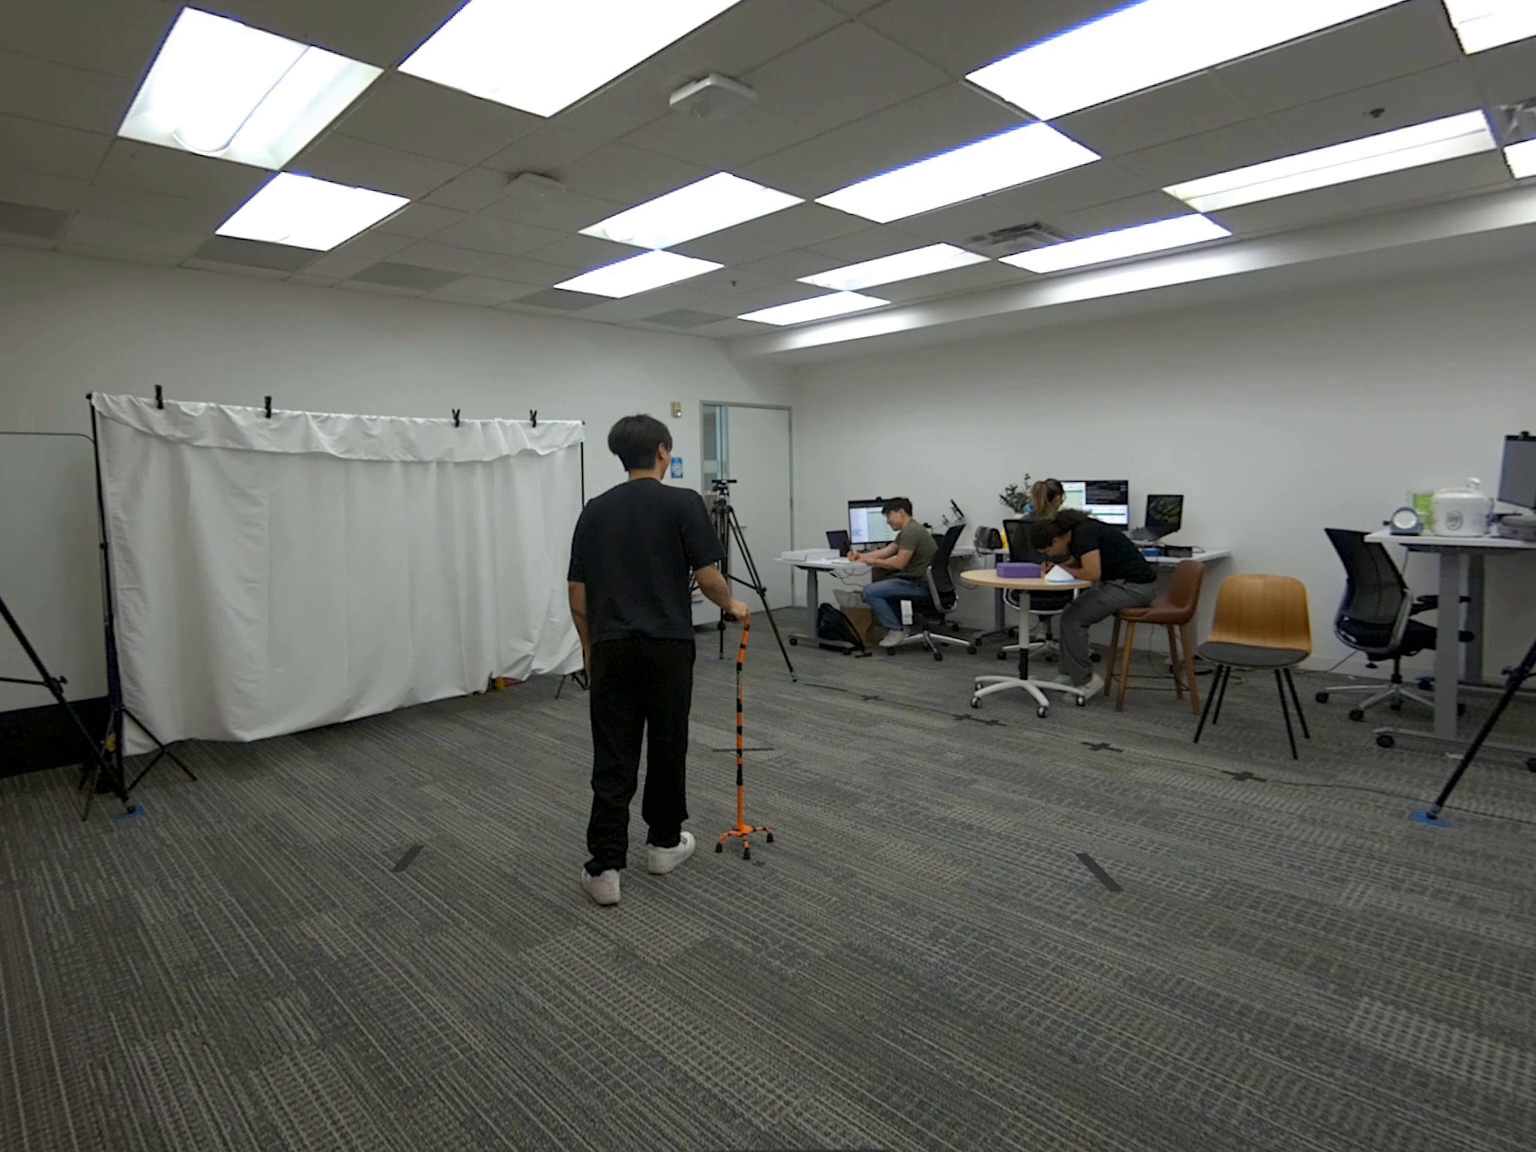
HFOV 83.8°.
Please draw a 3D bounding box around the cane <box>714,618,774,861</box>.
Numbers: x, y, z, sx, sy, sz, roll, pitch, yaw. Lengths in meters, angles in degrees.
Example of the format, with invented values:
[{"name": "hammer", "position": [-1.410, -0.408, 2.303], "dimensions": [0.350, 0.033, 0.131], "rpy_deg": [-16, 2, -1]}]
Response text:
[{"name": "cane", "position": [-0.089, 0.584, 3.233], "dimensions": [0.155, 0.905, 0.202], "rpy_deg": [1, 4, 27]}]
